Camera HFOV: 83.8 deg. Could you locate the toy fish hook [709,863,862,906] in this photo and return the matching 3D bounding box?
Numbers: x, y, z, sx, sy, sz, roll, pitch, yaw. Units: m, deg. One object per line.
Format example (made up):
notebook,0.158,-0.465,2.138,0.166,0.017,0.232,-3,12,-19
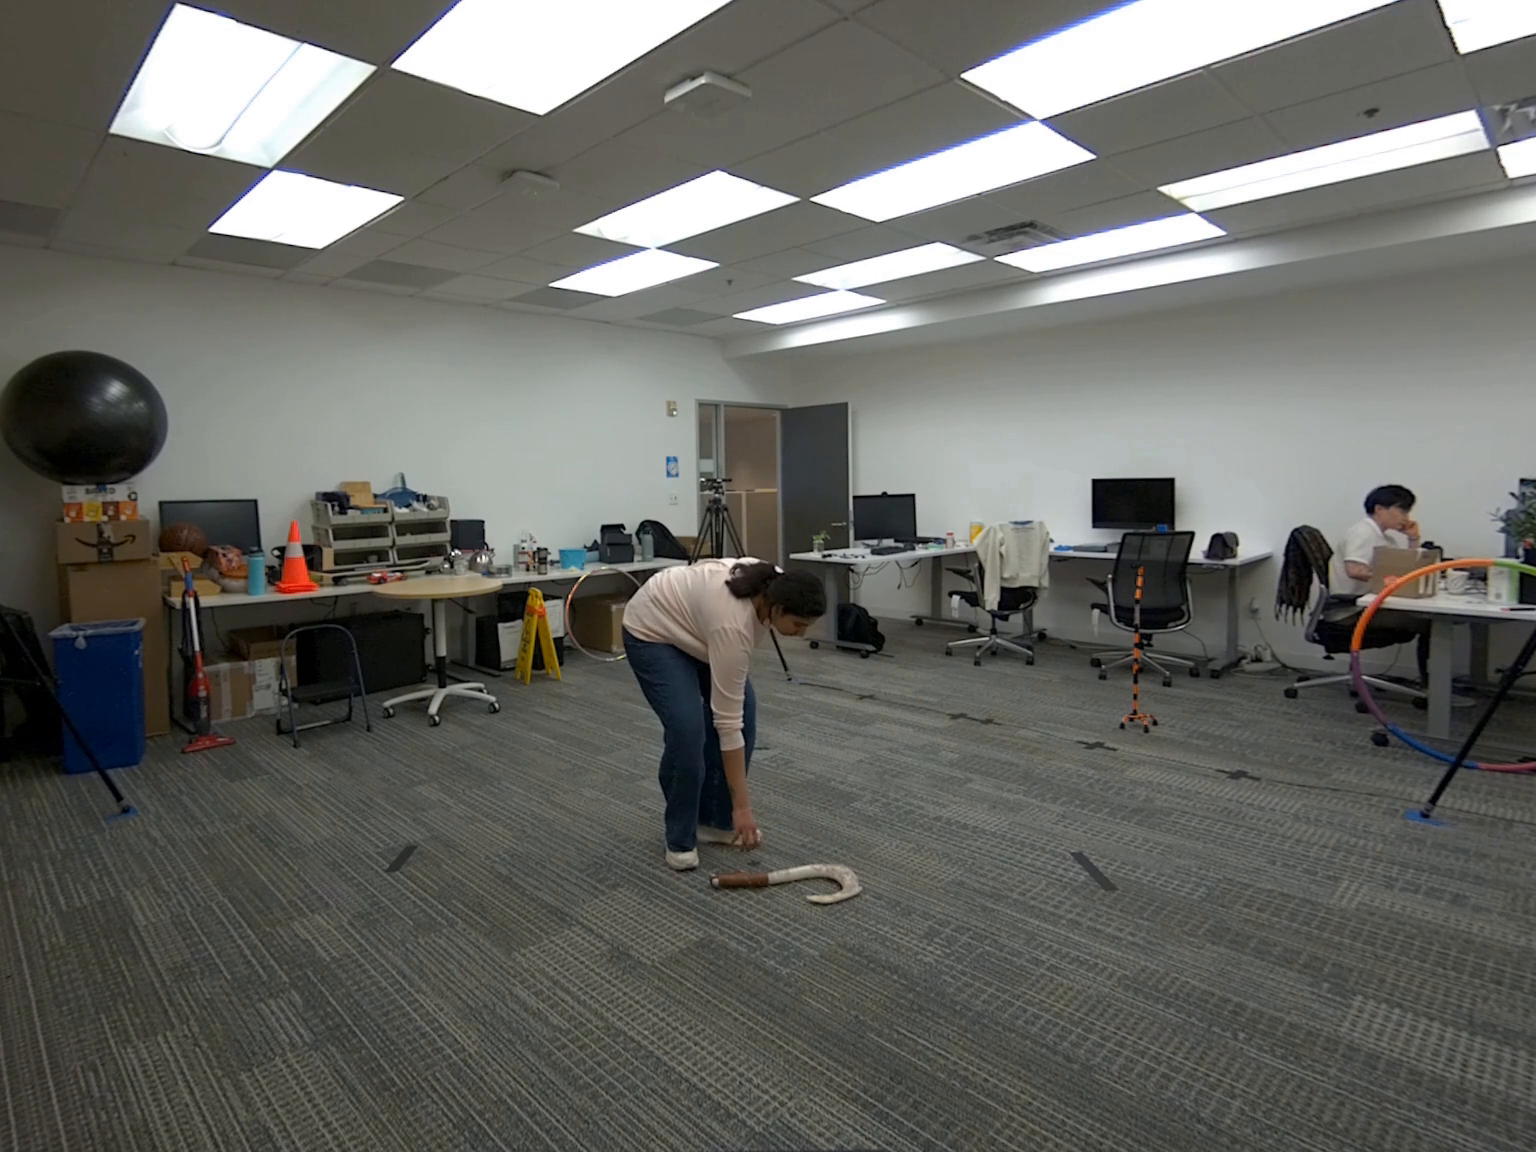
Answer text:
toy fish hook,0.058,1.040,2.889,0.504,0.048,0.227,-2,6,-5
